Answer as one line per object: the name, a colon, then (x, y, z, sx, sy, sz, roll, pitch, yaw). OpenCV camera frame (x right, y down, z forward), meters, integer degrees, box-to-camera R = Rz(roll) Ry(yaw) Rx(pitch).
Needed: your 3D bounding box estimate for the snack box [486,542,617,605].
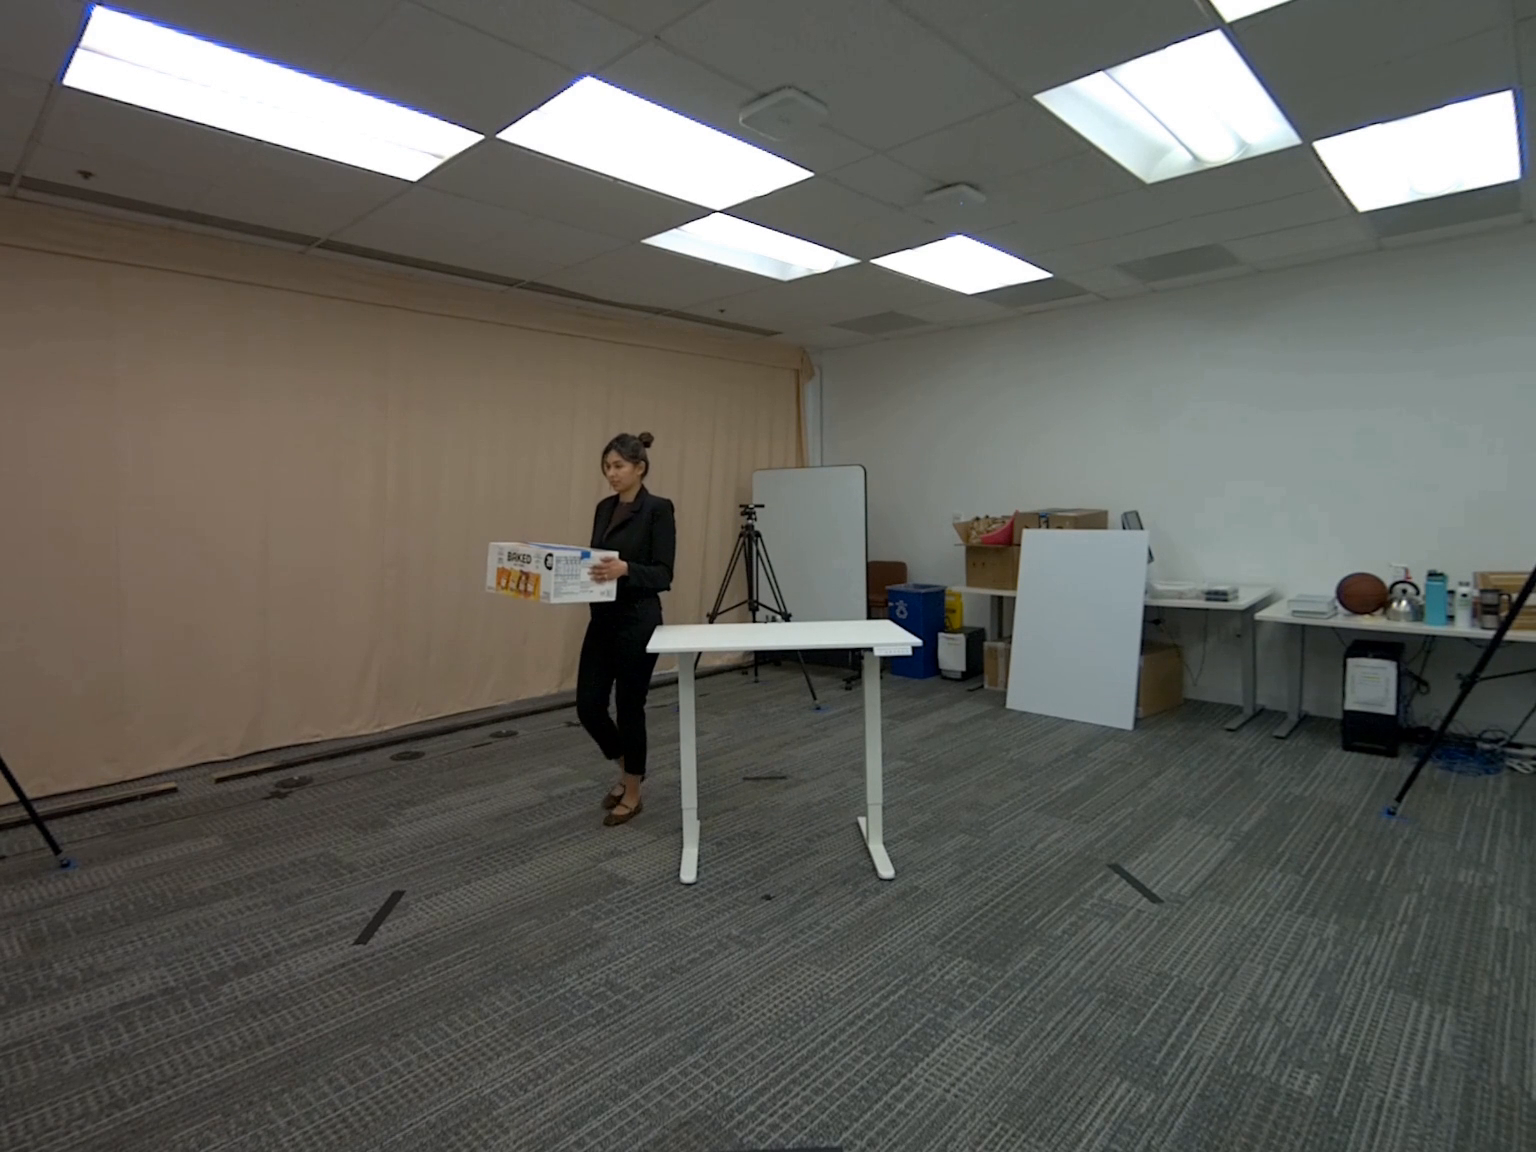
snack box: (-0.868, -0.011, 3.413, 0.419, 0.205, 0.330, 7, 5, 37)
